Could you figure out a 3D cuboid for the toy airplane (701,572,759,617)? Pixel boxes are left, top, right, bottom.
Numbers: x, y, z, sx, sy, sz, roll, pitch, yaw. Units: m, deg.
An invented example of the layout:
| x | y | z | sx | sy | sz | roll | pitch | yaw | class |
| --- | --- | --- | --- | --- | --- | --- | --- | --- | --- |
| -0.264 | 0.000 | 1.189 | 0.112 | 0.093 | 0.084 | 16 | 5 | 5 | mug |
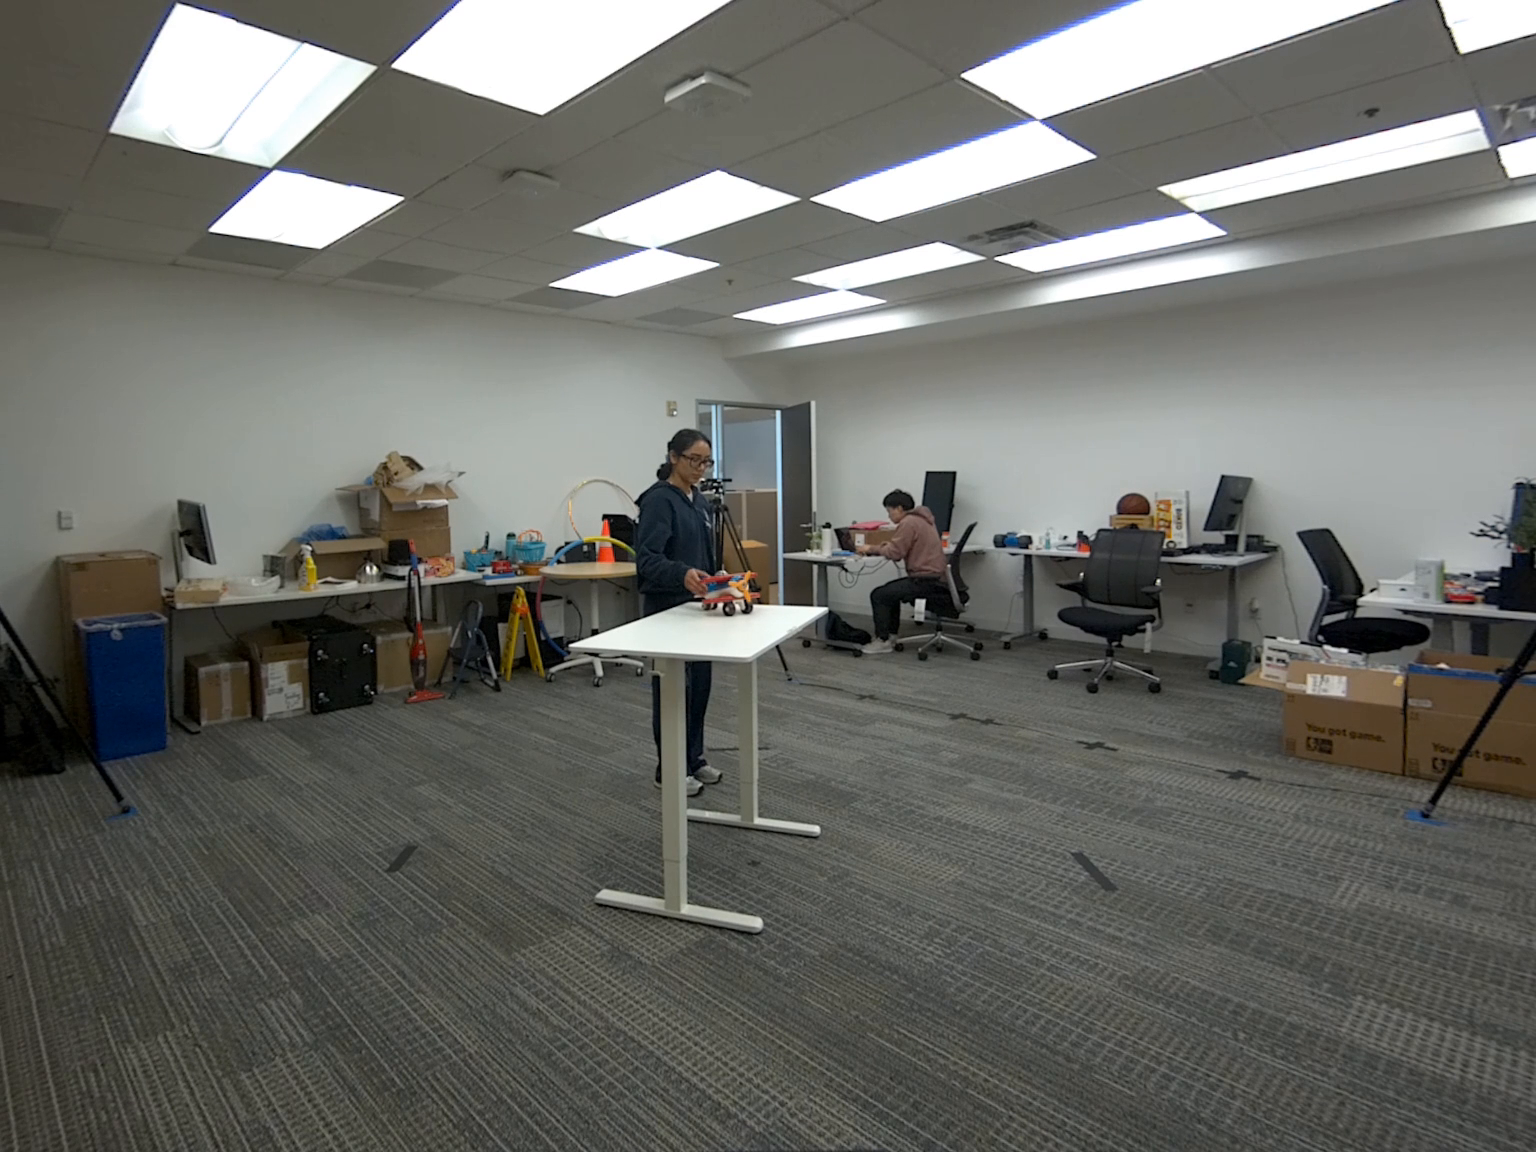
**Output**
| x | y | z | sx | sy | sz | roll | pitch | yaw | class |
| --- | --- | --- | --- | --- | --- | --- | --- | --- | --- |
| -0.173 | 0.071 | 3.287 | 0.265 | 0.156 | 0.247 | 2 | 6 | 23 | toy airplane |
